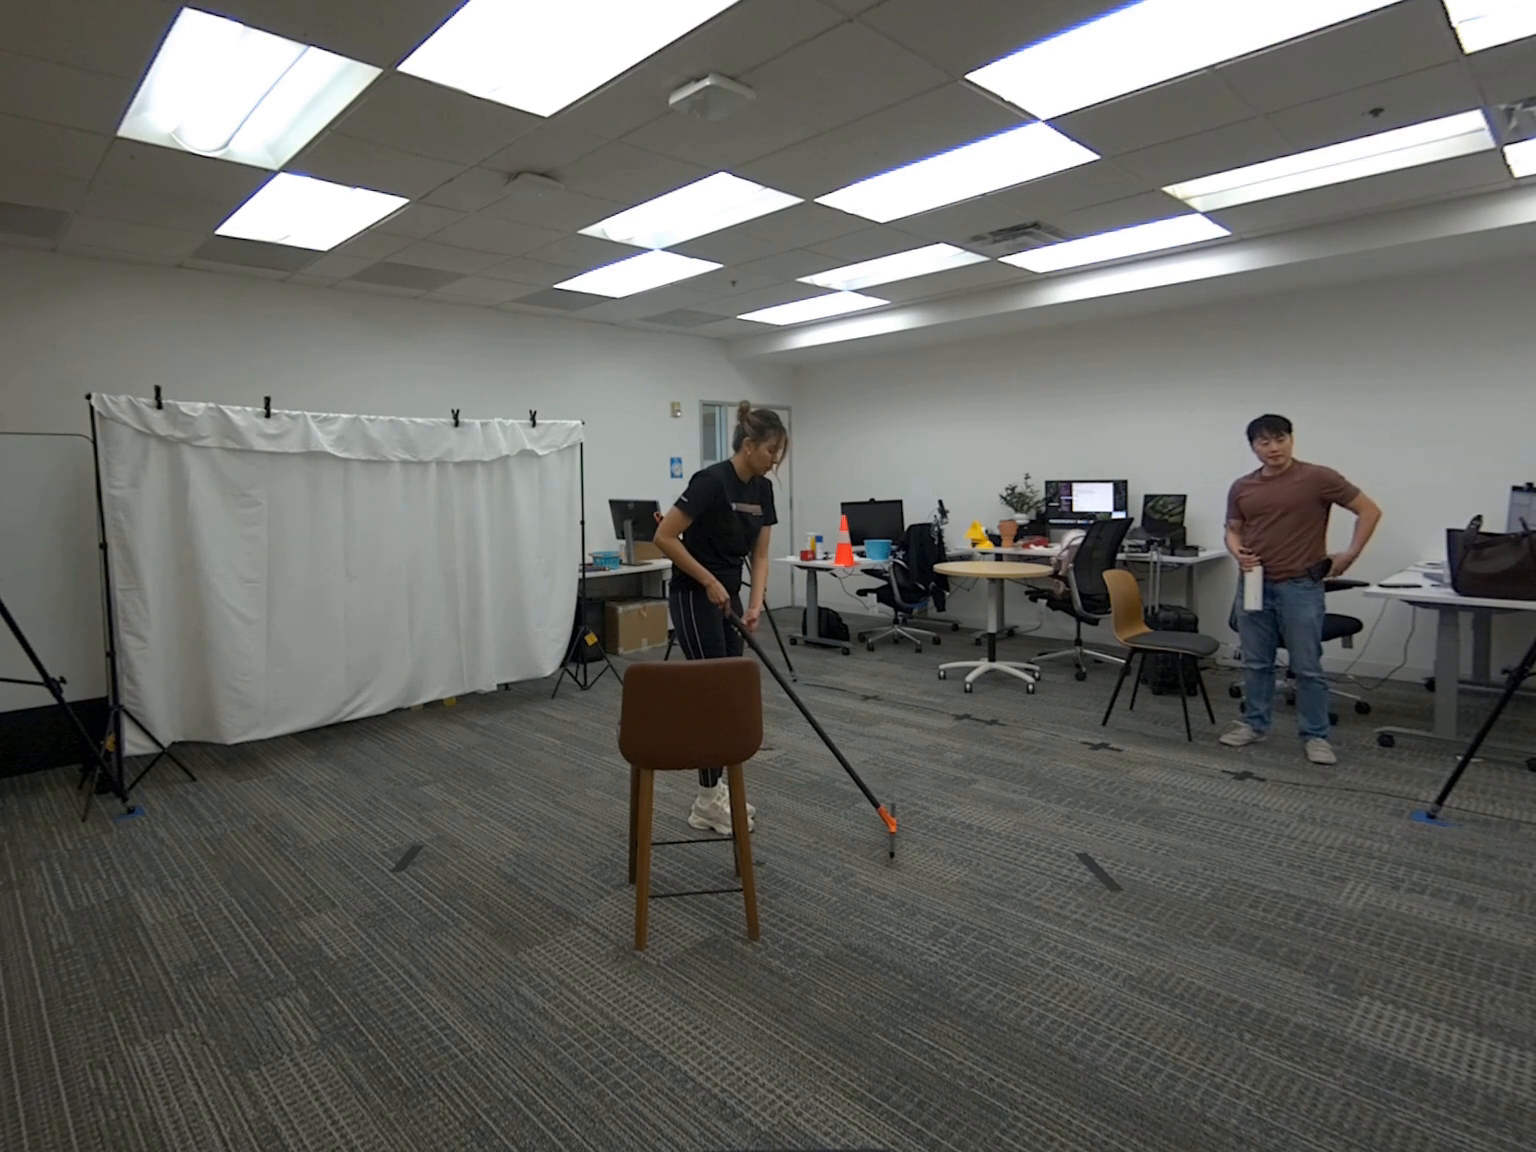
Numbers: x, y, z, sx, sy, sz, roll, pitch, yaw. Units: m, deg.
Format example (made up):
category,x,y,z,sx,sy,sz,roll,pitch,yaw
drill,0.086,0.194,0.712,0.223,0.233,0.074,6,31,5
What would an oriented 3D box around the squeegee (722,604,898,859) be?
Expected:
category,x,y,z,sx,sy,sz,roll,pitch,yaw
squeegee,0.034,0.376,3.298,0.053,1.543,0.435,-39,-2,11
